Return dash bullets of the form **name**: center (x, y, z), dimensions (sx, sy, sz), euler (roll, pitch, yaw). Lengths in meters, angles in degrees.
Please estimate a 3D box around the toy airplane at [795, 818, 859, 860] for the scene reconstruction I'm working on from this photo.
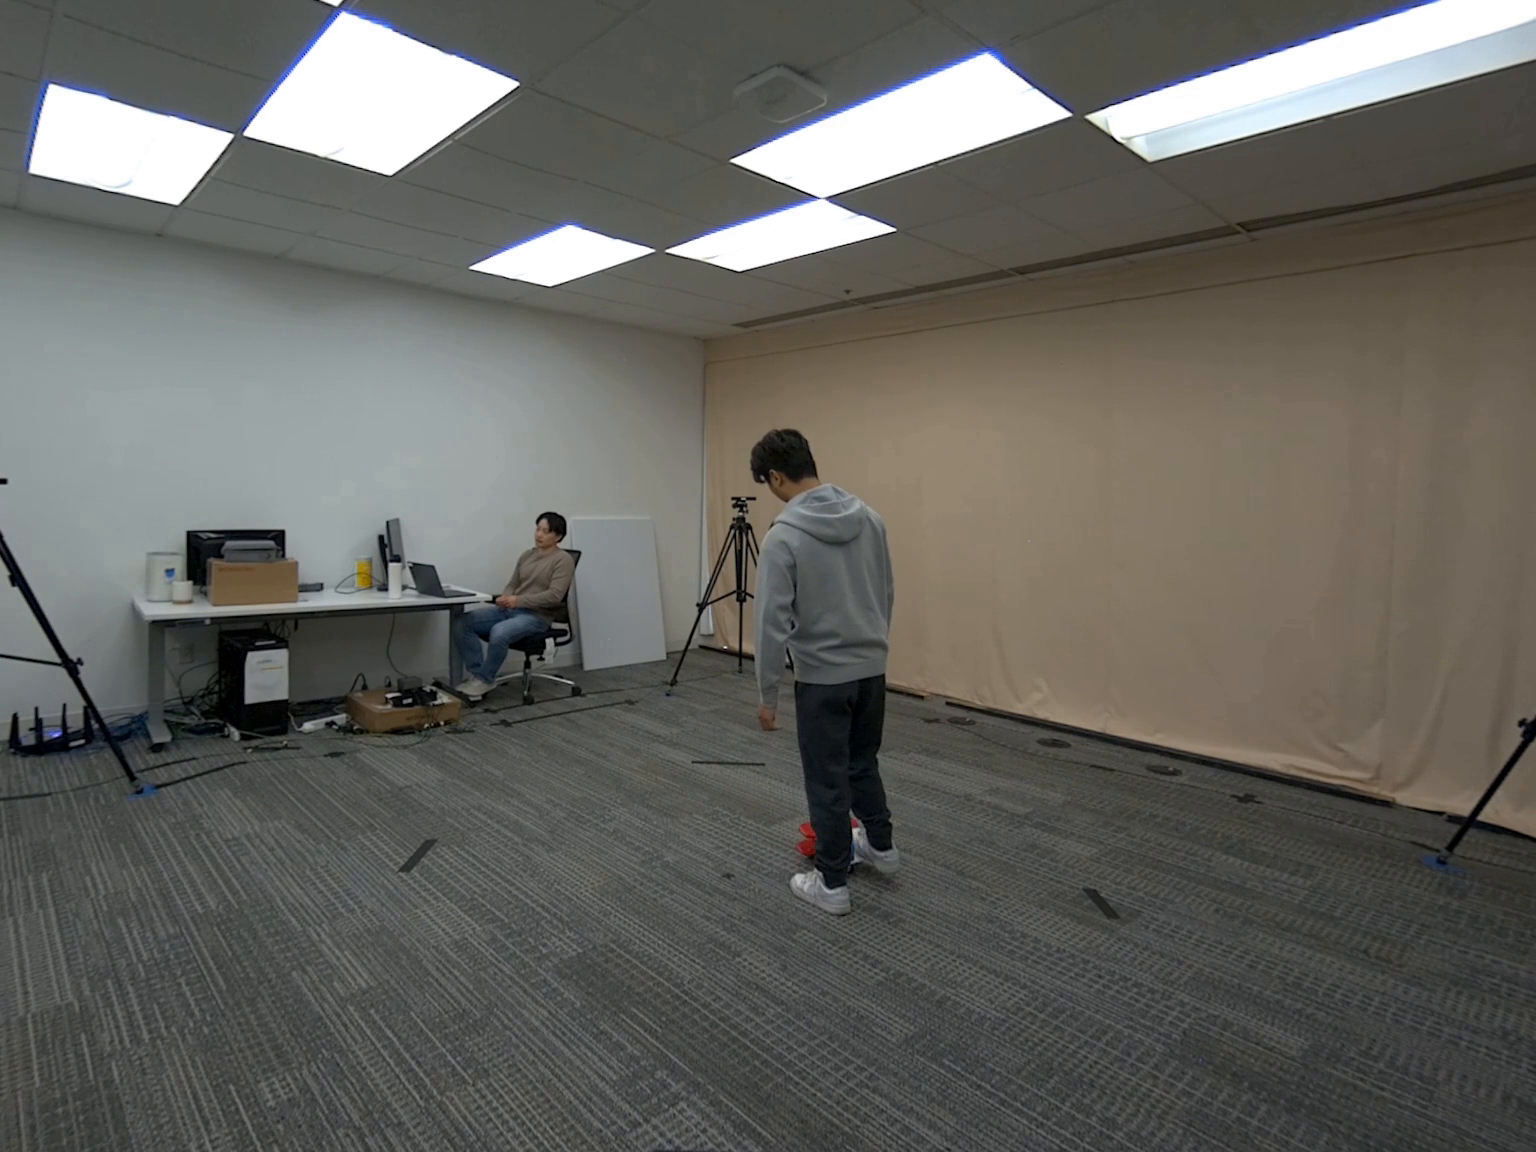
- **toy airplane**: center (0.258, 1.032, 3.231), dimensions (0.265, 0.156, 0.246), euler (3, 4, 33)
